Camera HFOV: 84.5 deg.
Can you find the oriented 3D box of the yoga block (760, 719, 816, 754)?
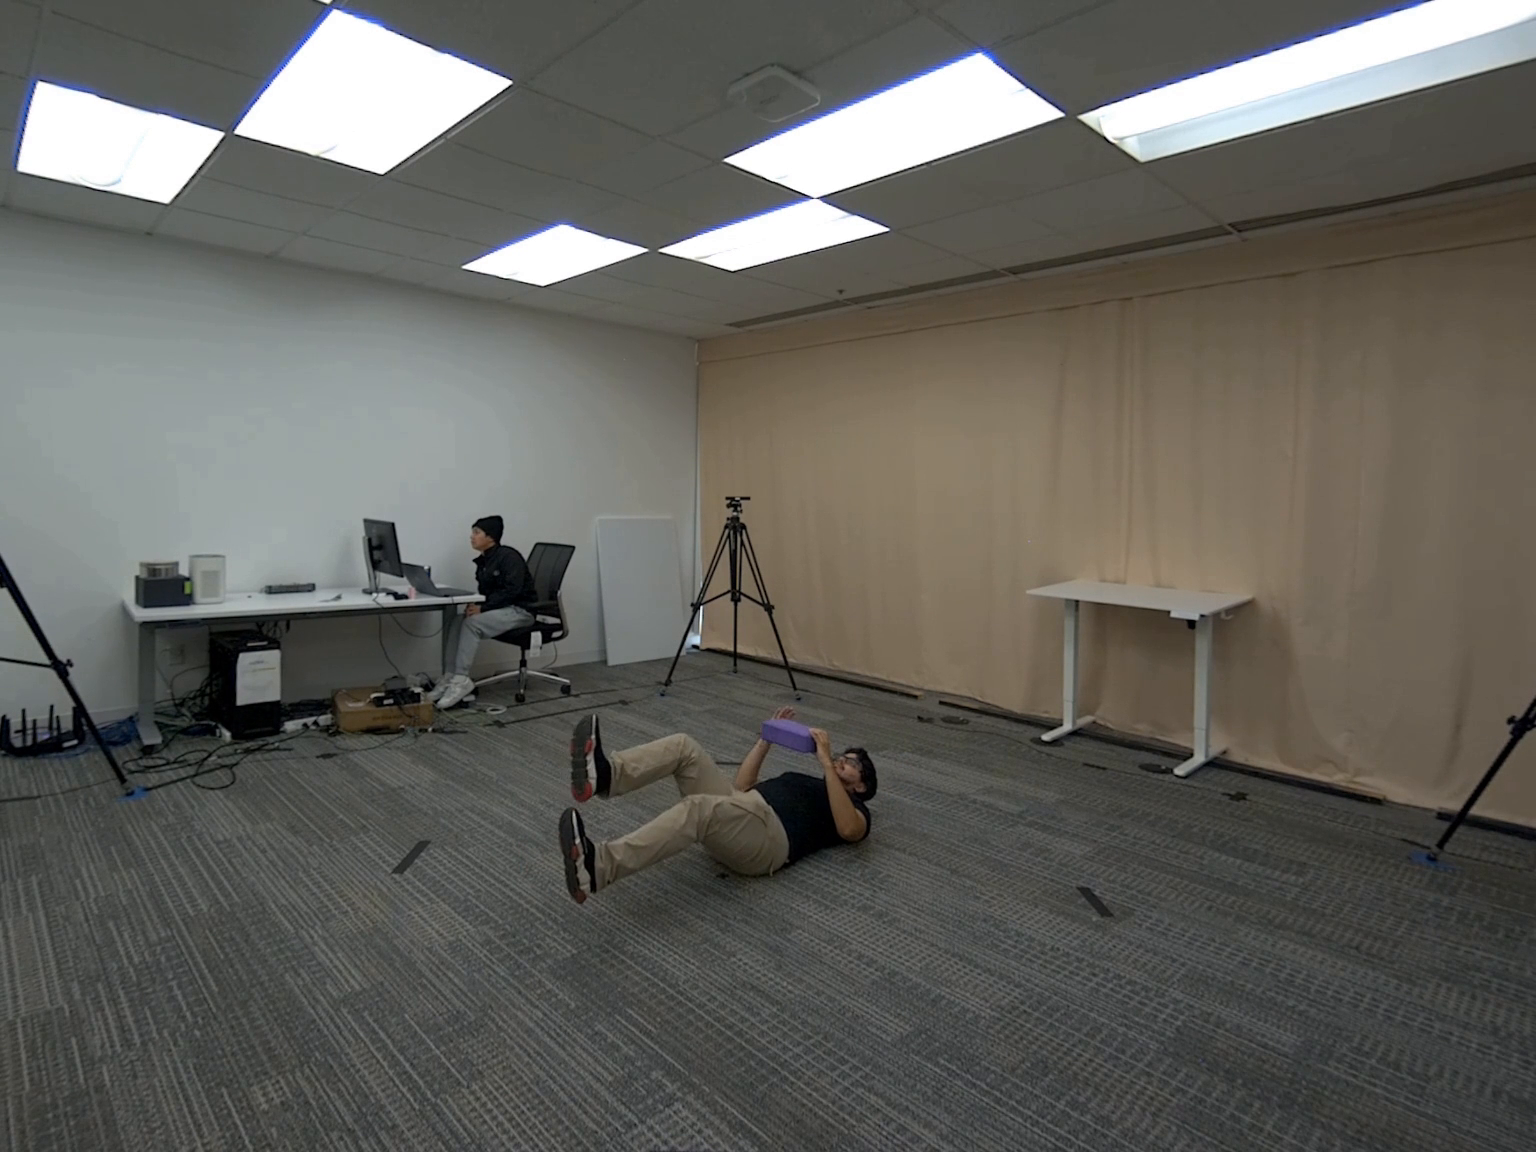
[{"bbox_3d":[0.095,0.653,3.427,0.235,0.076,0.145,10,4,37],"label":"yoga block"}]
